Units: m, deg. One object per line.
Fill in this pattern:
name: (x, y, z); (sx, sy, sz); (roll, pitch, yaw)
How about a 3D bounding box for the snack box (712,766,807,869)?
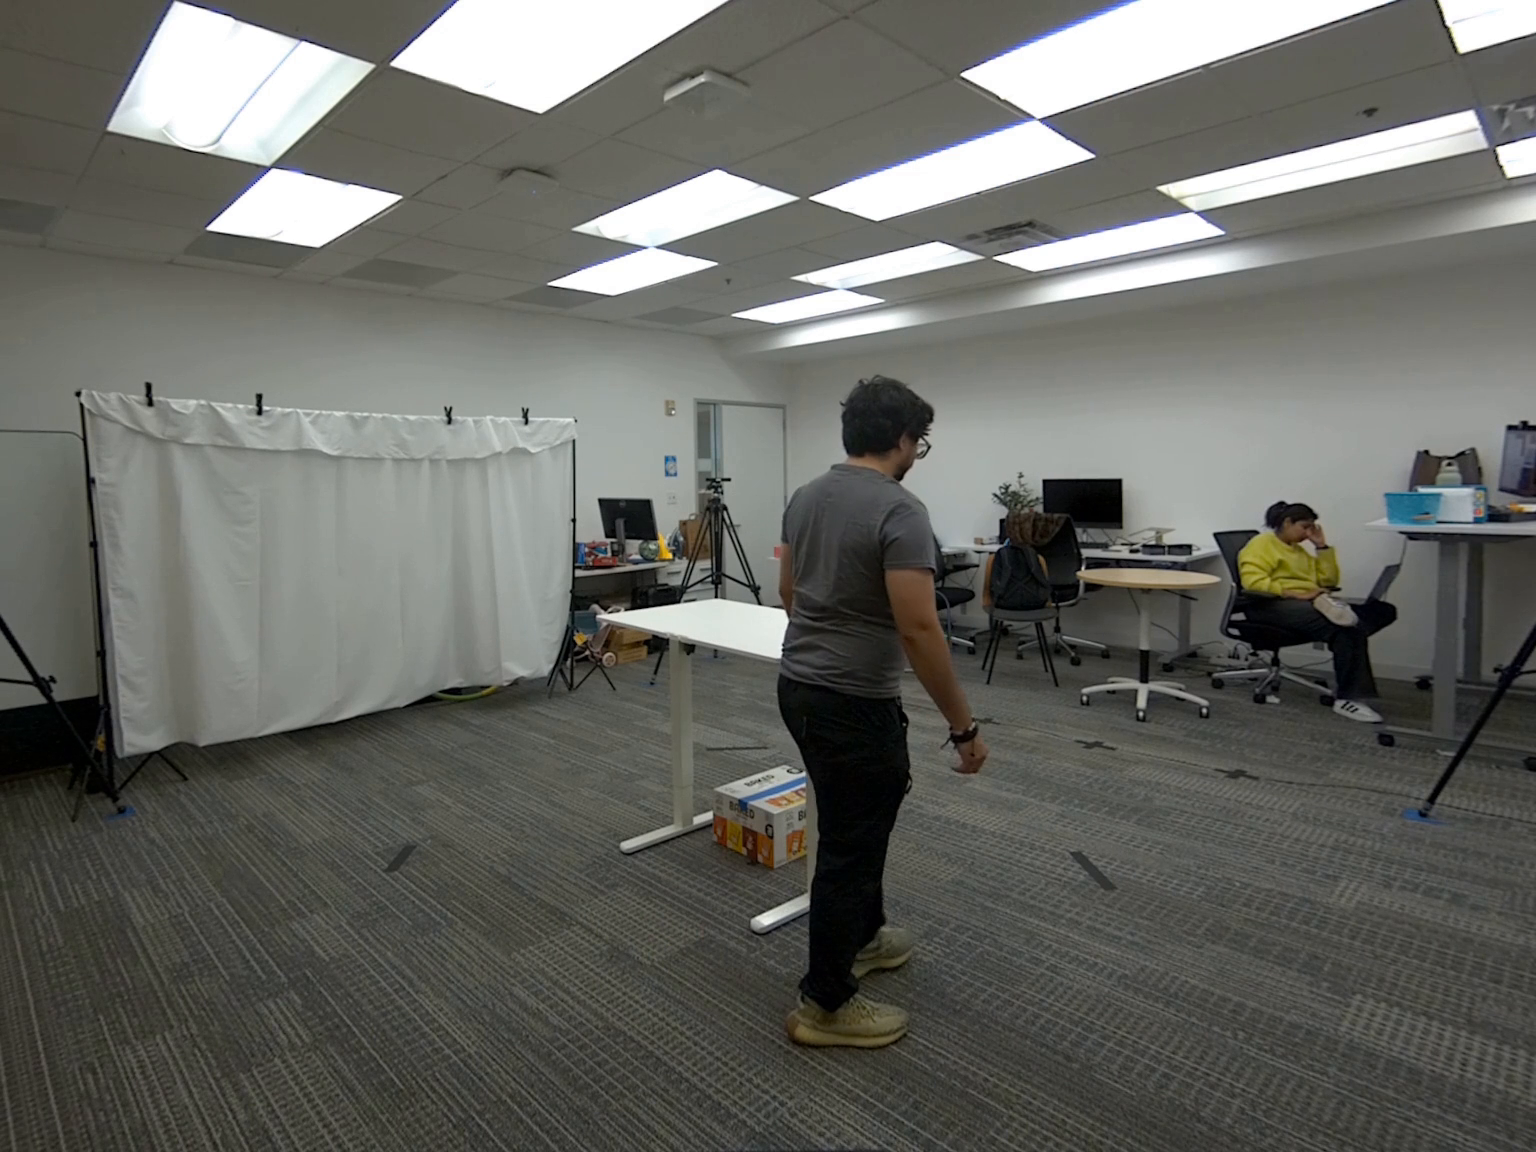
snack box: (0.049, 0.918, 3.300); (0.394, 0.205, 0.351); (-7, 8, -43)
